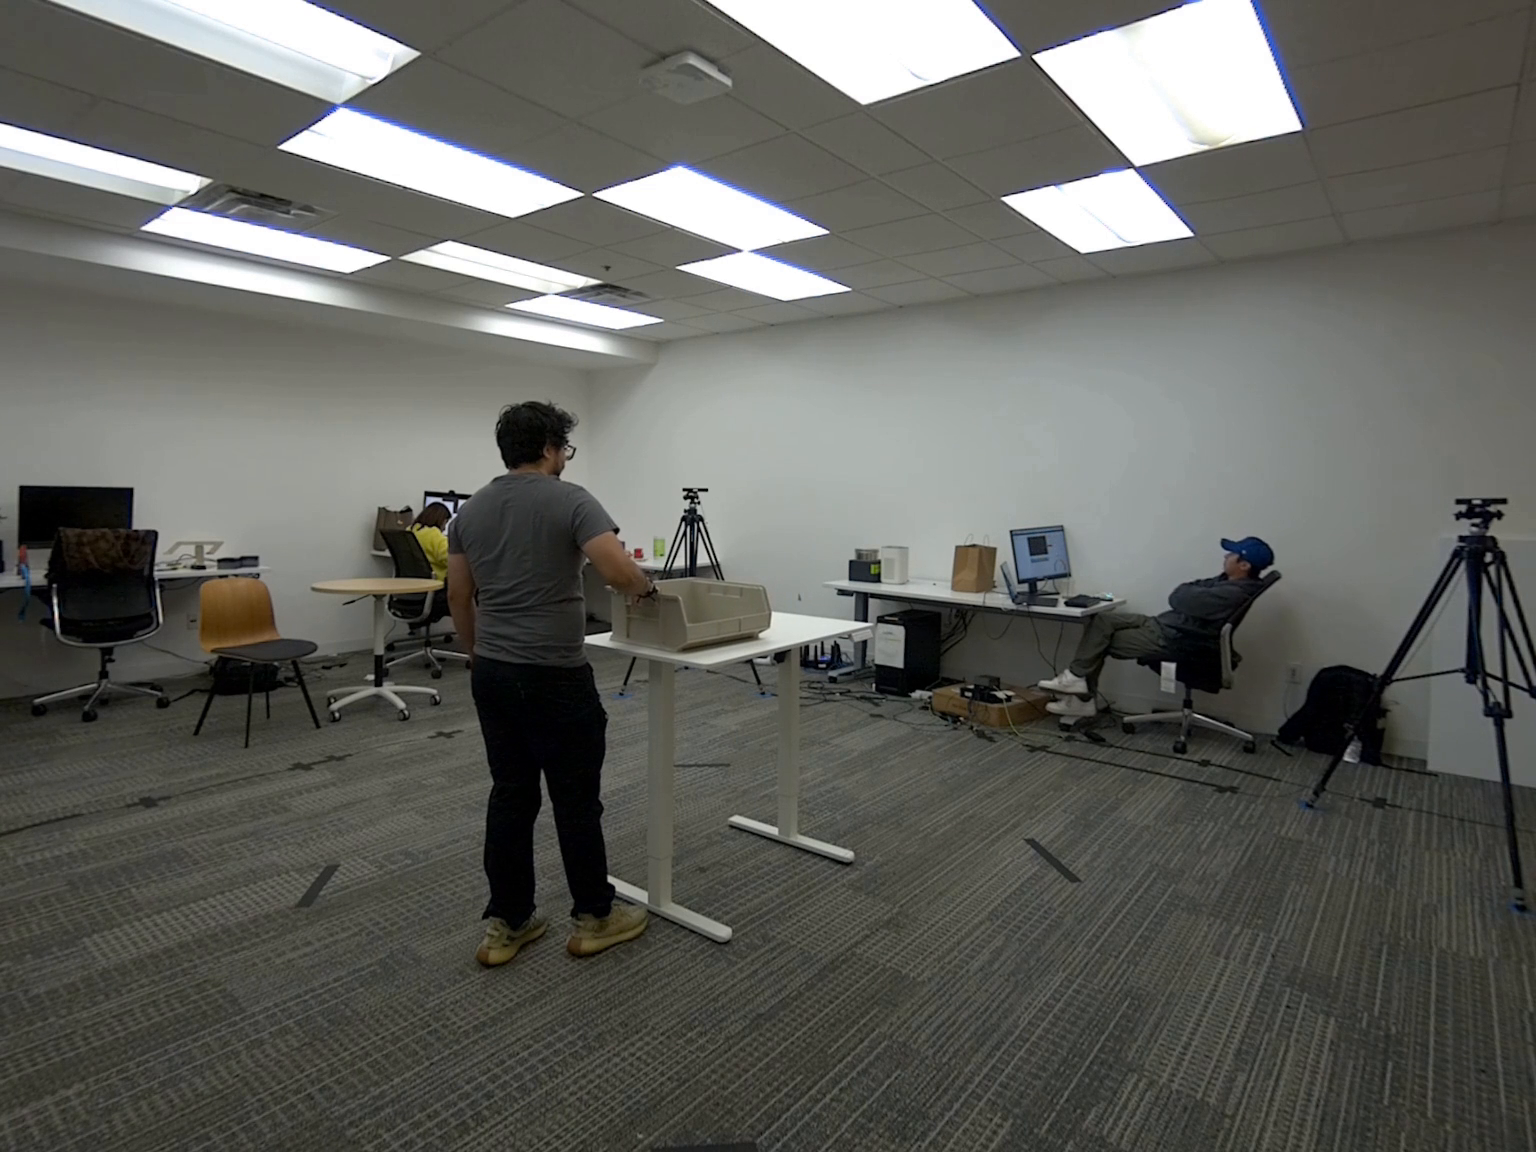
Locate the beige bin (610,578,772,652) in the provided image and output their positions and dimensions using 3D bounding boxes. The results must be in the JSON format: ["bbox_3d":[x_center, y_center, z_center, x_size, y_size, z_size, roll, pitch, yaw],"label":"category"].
[{"bbox_3d":[-0.271,0.122,2.863,0.390,0.188,0.410,2,6,41],"label":"beige bin"}]
